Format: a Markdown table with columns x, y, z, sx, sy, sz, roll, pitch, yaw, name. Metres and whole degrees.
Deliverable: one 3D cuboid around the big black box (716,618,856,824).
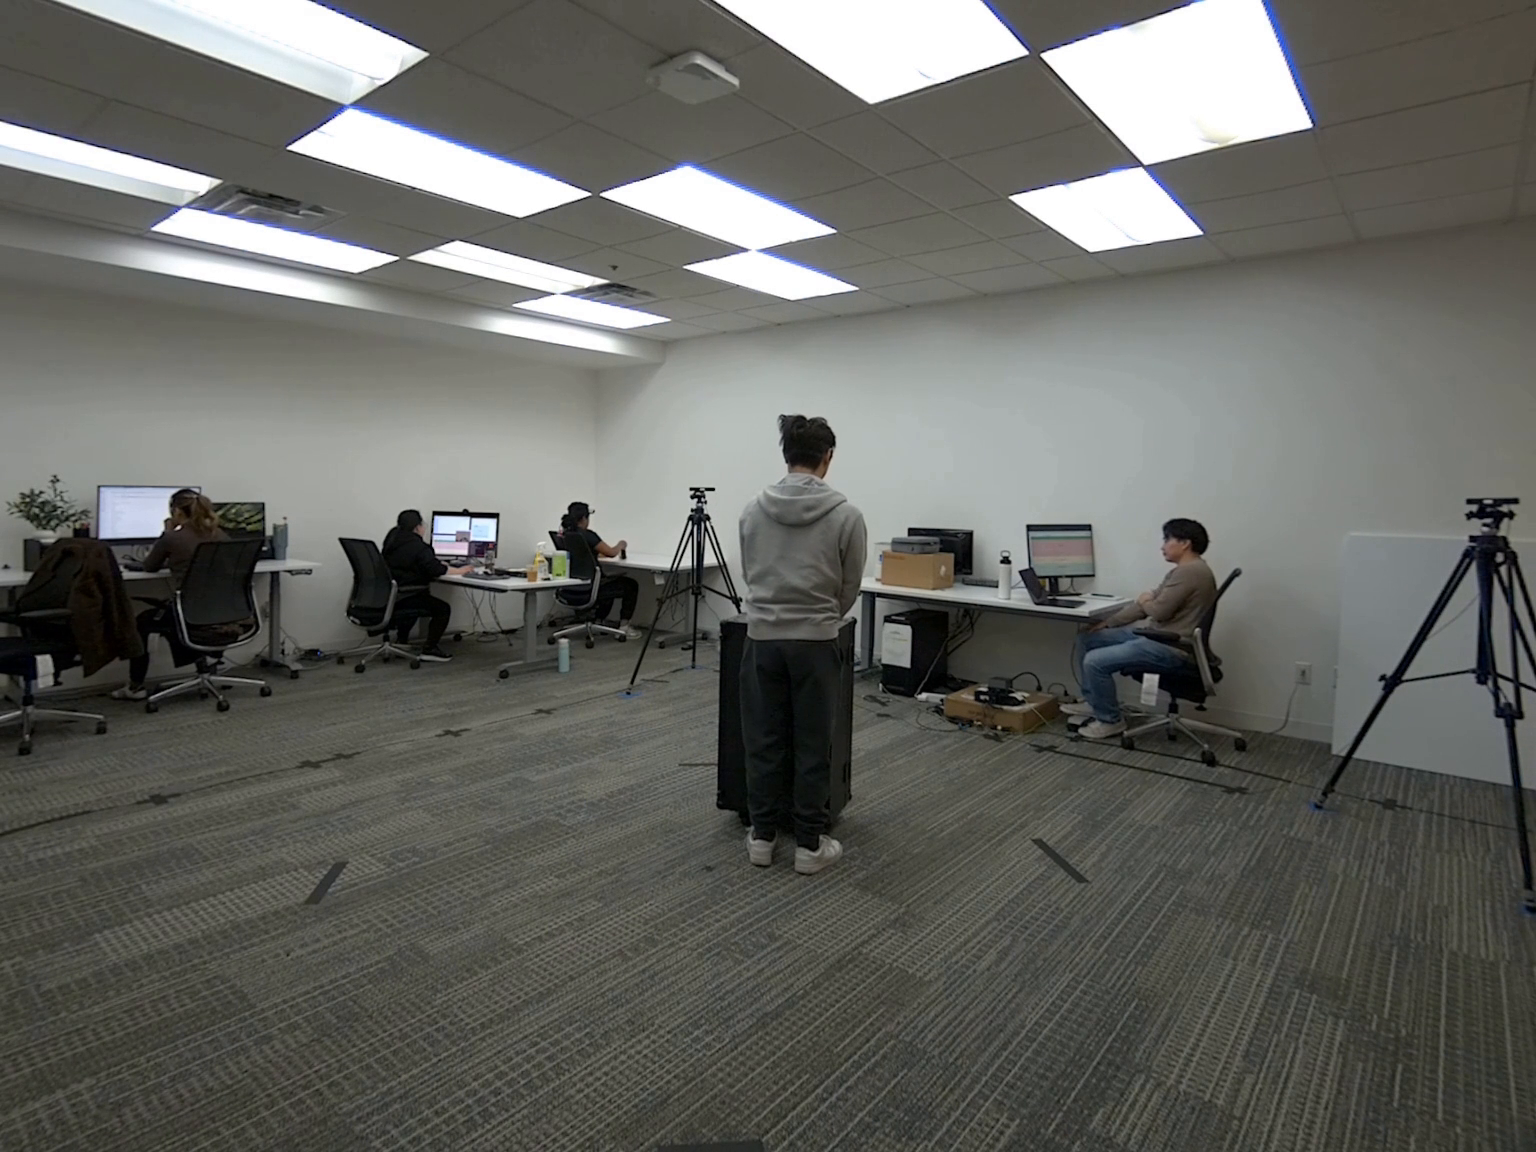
| x | y | z | sx | sy | sz | roll | pitch | yaw | name |
| --- | --- | --- | --- | --- | --- | --- | --- | --- | --- |
| 0.067 | 0.599 | 3.553 | 0.533 | 0.858 | 0.389 | 3 | 4 | 20 | big black box |
